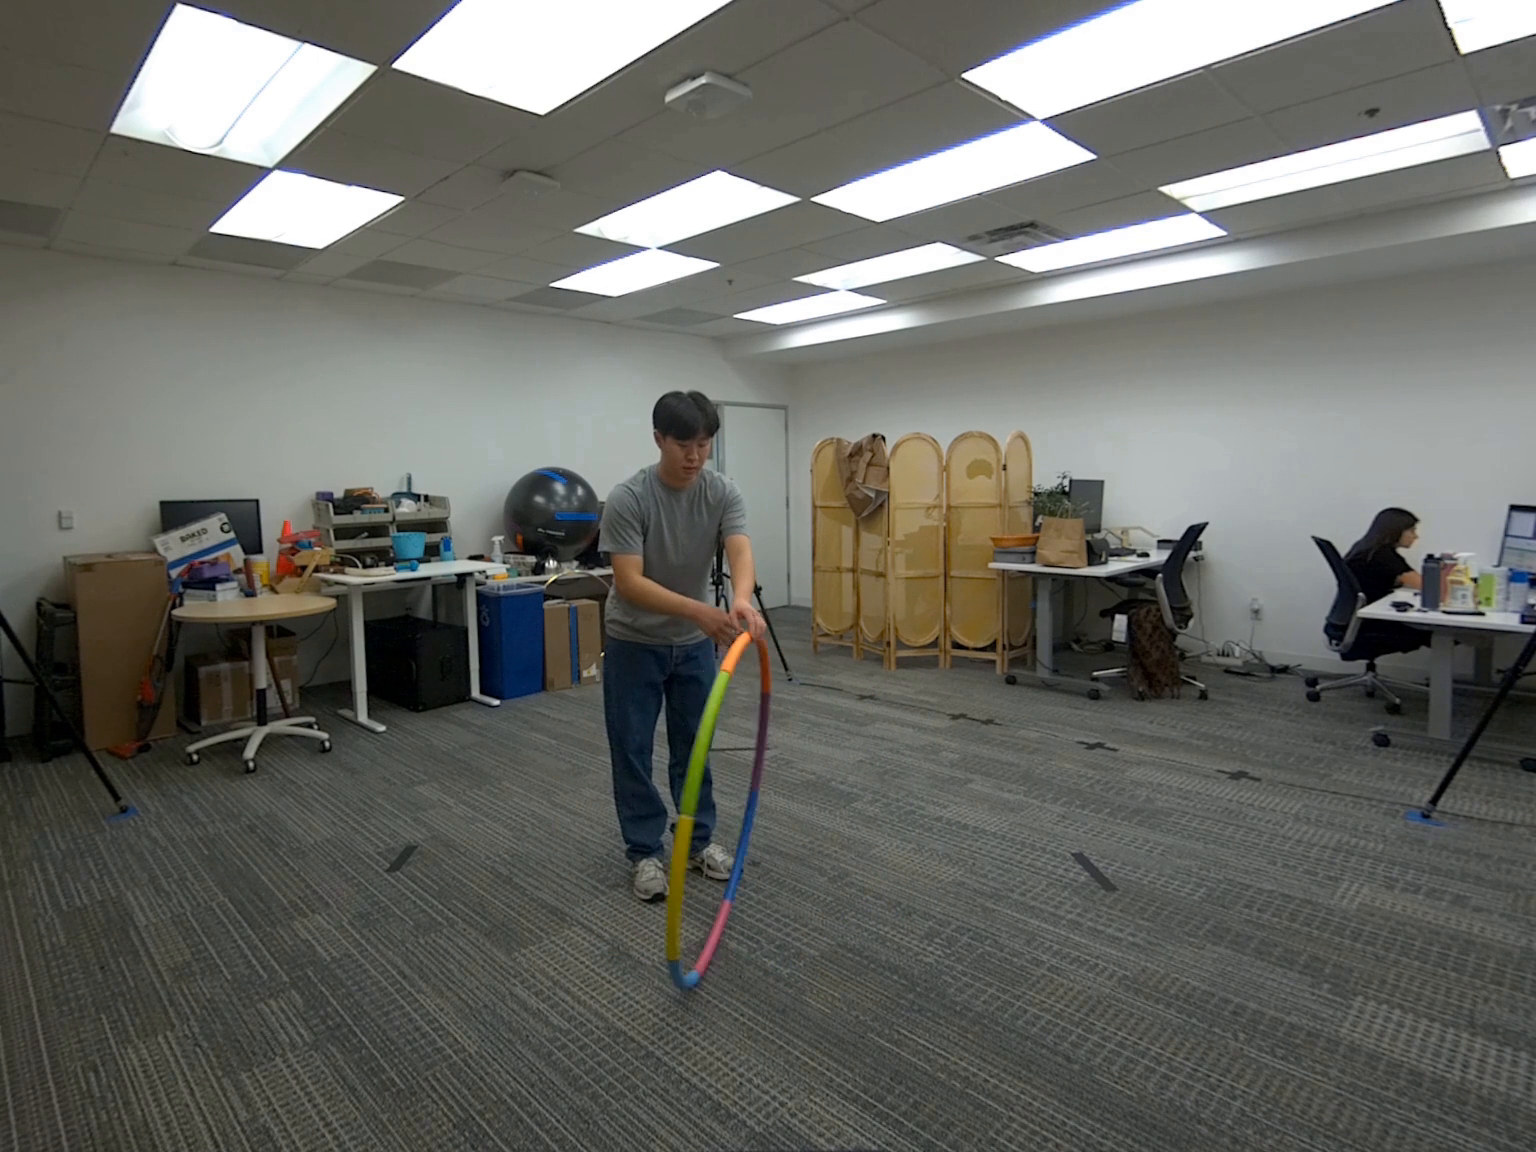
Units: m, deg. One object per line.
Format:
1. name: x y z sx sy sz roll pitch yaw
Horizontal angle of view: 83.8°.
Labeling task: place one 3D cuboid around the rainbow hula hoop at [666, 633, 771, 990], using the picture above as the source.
1. rainbow hula hoop: -0.122 0.644 2.440 0.036 0.974 0.971 8 7 10
